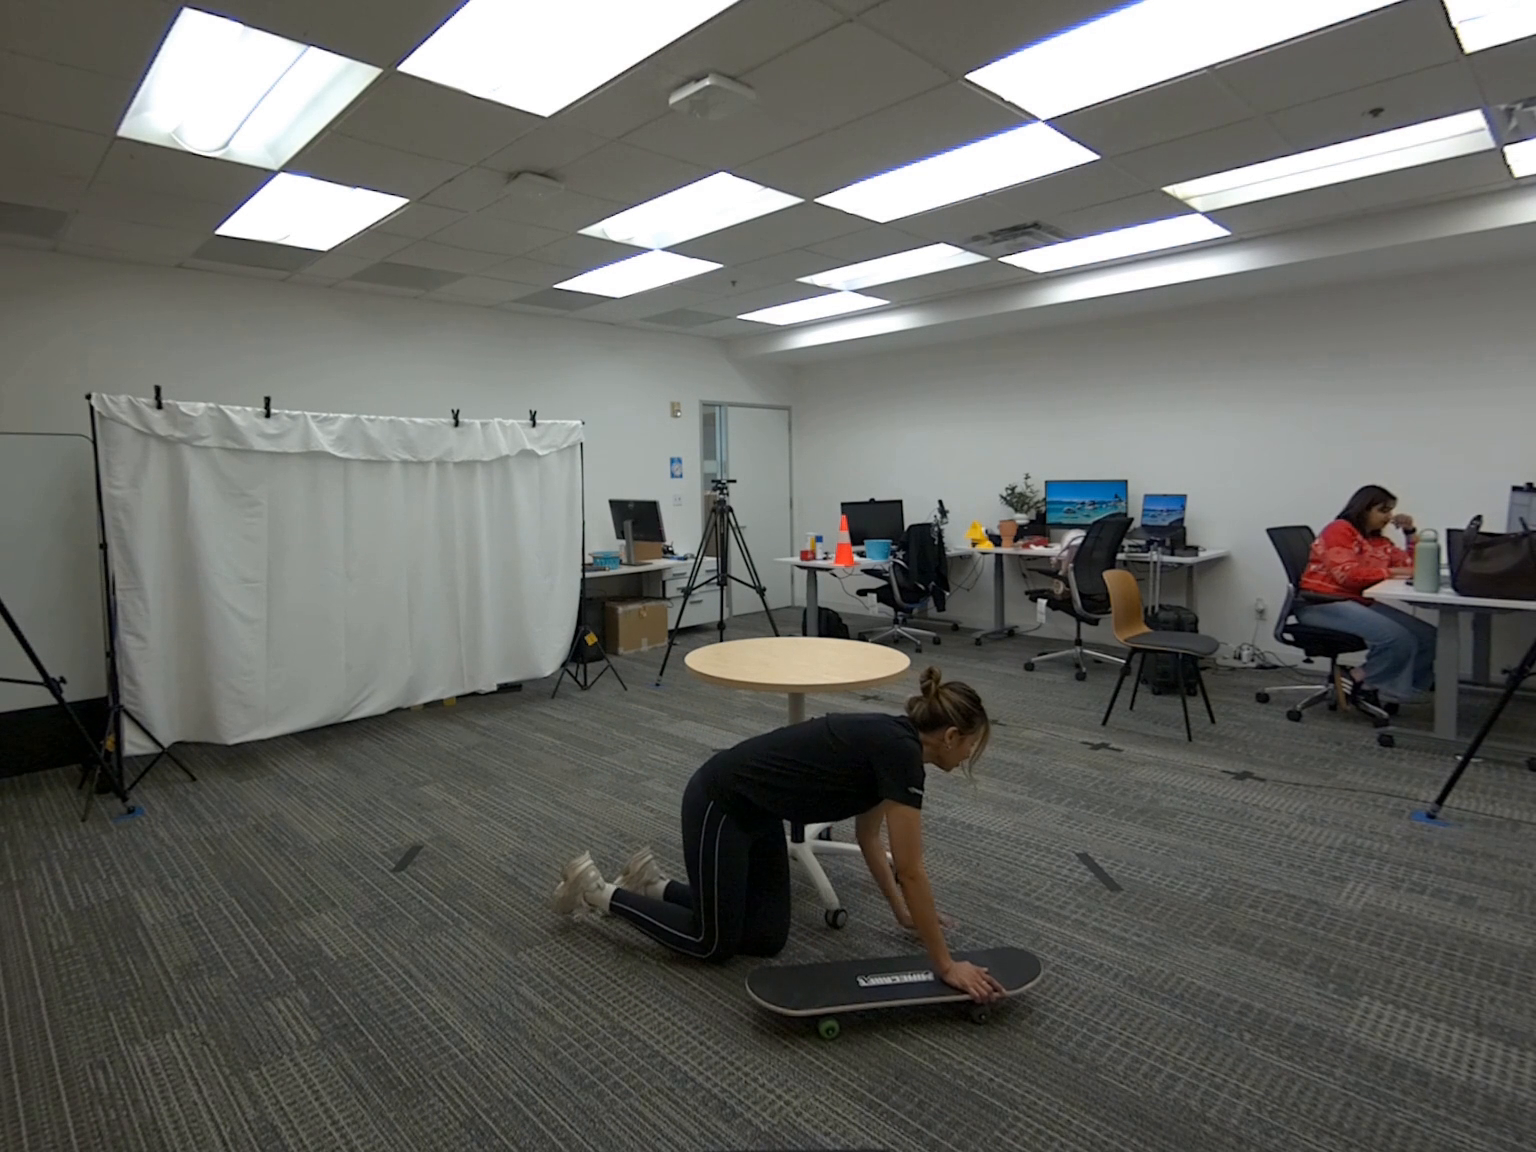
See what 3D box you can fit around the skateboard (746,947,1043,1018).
[{"bbox_3d":[0.345,1.085,2.234,0.781,0.110,0.196,-3,7,-6],"label":"skateboard"}]
